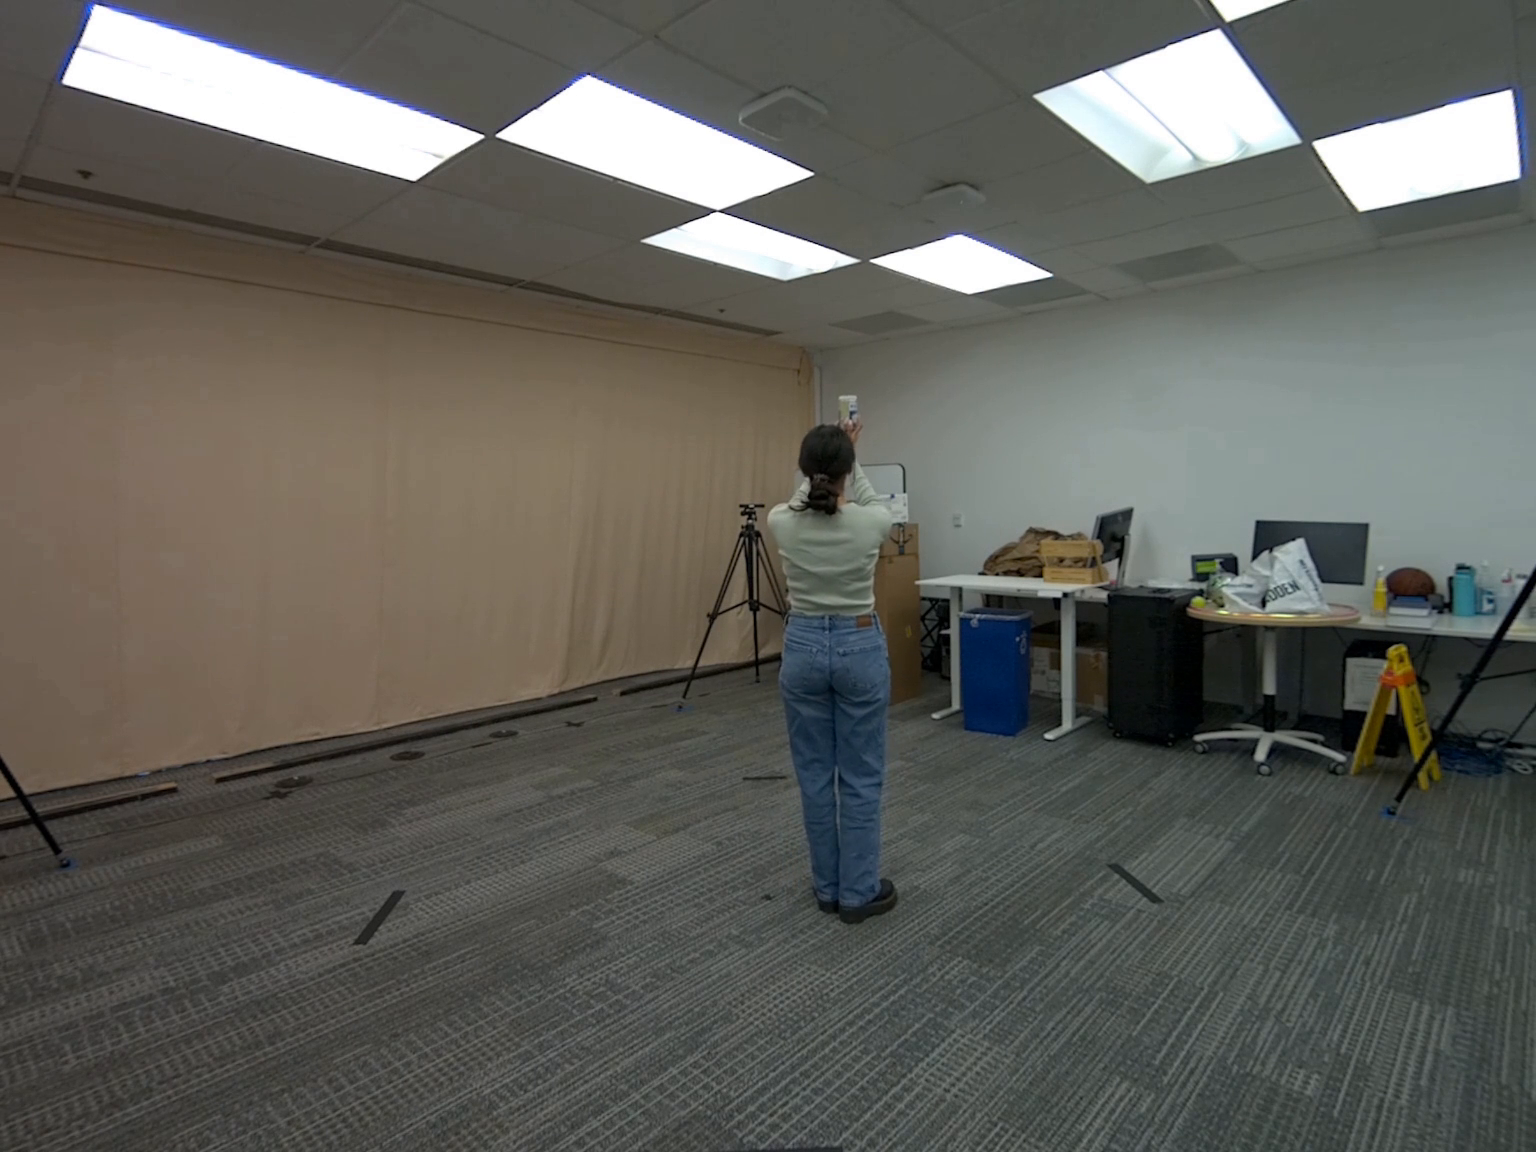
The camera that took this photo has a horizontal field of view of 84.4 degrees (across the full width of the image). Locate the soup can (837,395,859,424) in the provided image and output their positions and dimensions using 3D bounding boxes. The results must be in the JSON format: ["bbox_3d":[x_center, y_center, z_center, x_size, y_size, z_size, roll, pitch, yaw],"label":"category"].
[{"bbox_3d":[0.297,-0.603,3.115,0.067,0.120,0.068,3,13,-2],"label":"soup can"}]
